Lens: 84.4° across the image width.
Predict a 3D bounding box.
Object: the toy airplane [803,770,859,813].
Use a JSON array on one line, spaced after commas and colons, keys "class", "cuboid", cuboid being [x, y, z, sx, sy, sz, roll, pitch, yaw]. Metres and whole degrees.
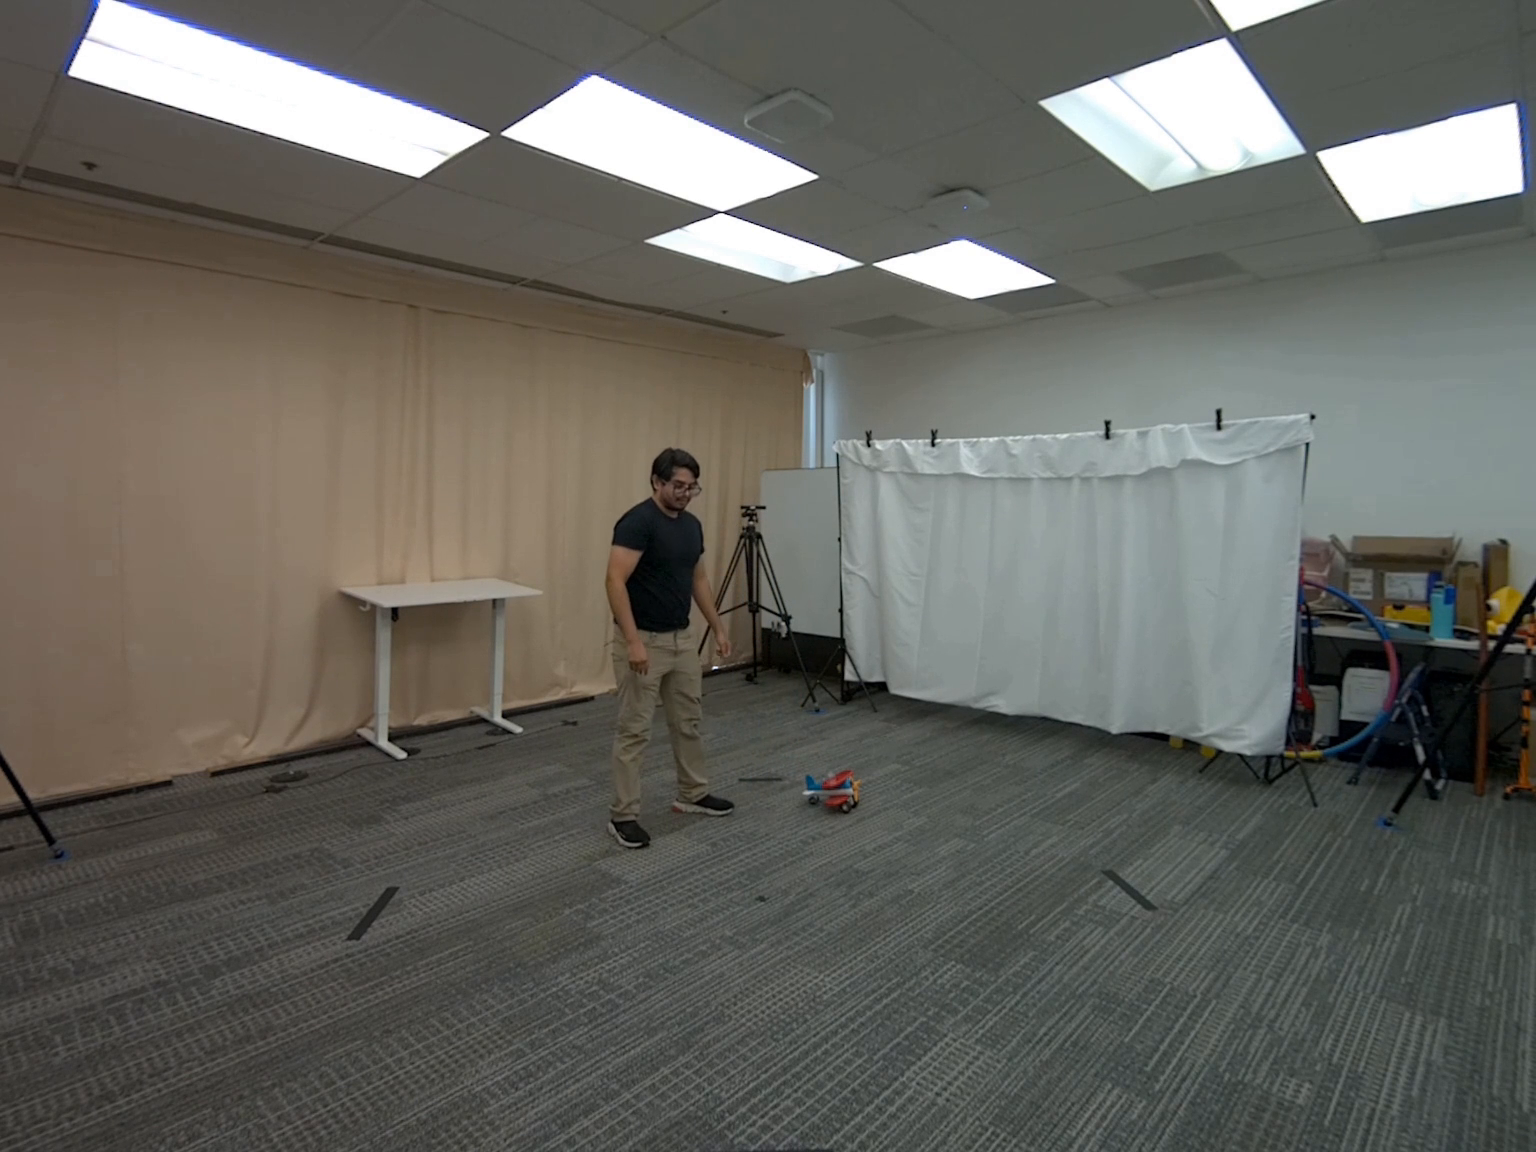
[{"class": "toy airplane", "cuboid": [0.289, 0.998, 3.876, 0.260, 0.156, 0.251, 2, 4, 1]}]
